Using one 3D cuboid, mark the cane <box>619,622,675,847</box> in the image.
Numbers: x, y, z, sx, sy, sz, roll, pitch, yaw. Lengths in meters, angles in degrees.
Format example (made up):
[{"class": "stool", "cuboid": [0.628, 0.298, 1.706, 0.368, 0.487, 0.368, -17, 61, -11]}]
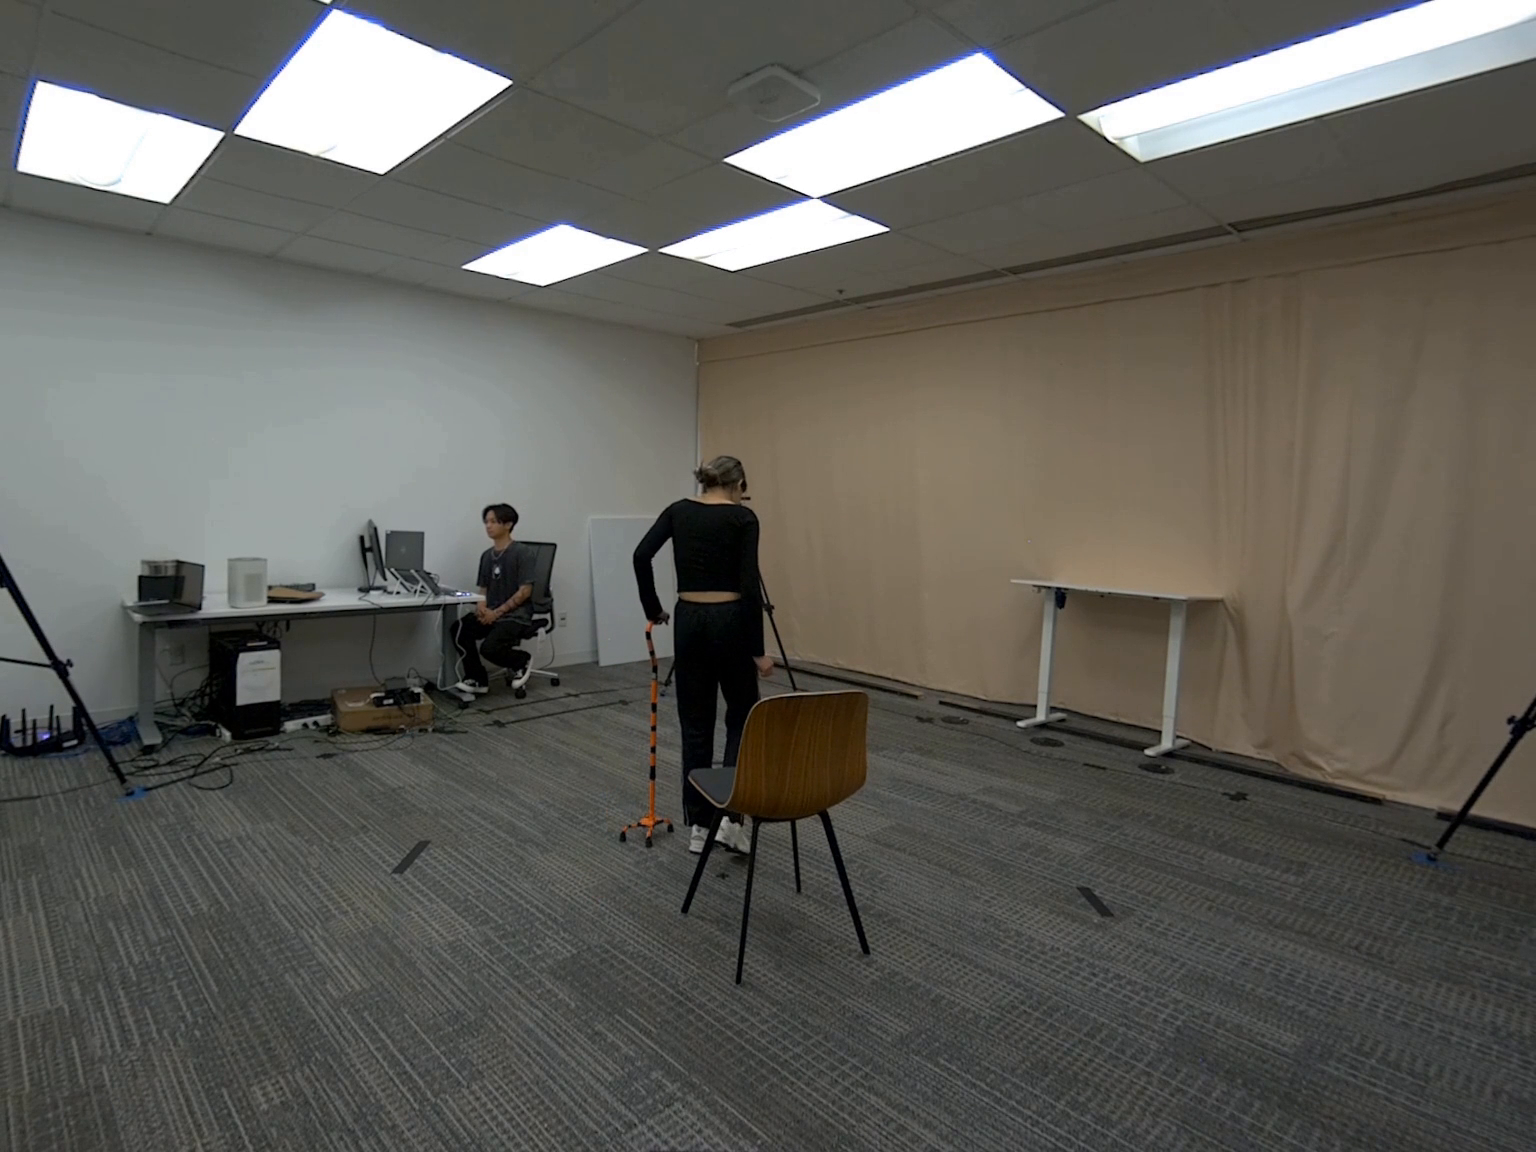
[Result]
[{"class": "cane", "cuboid": [-0.488, 0.608, 3.443, 0.154, 0.906, 0.203, 2, 2, 23]}]
